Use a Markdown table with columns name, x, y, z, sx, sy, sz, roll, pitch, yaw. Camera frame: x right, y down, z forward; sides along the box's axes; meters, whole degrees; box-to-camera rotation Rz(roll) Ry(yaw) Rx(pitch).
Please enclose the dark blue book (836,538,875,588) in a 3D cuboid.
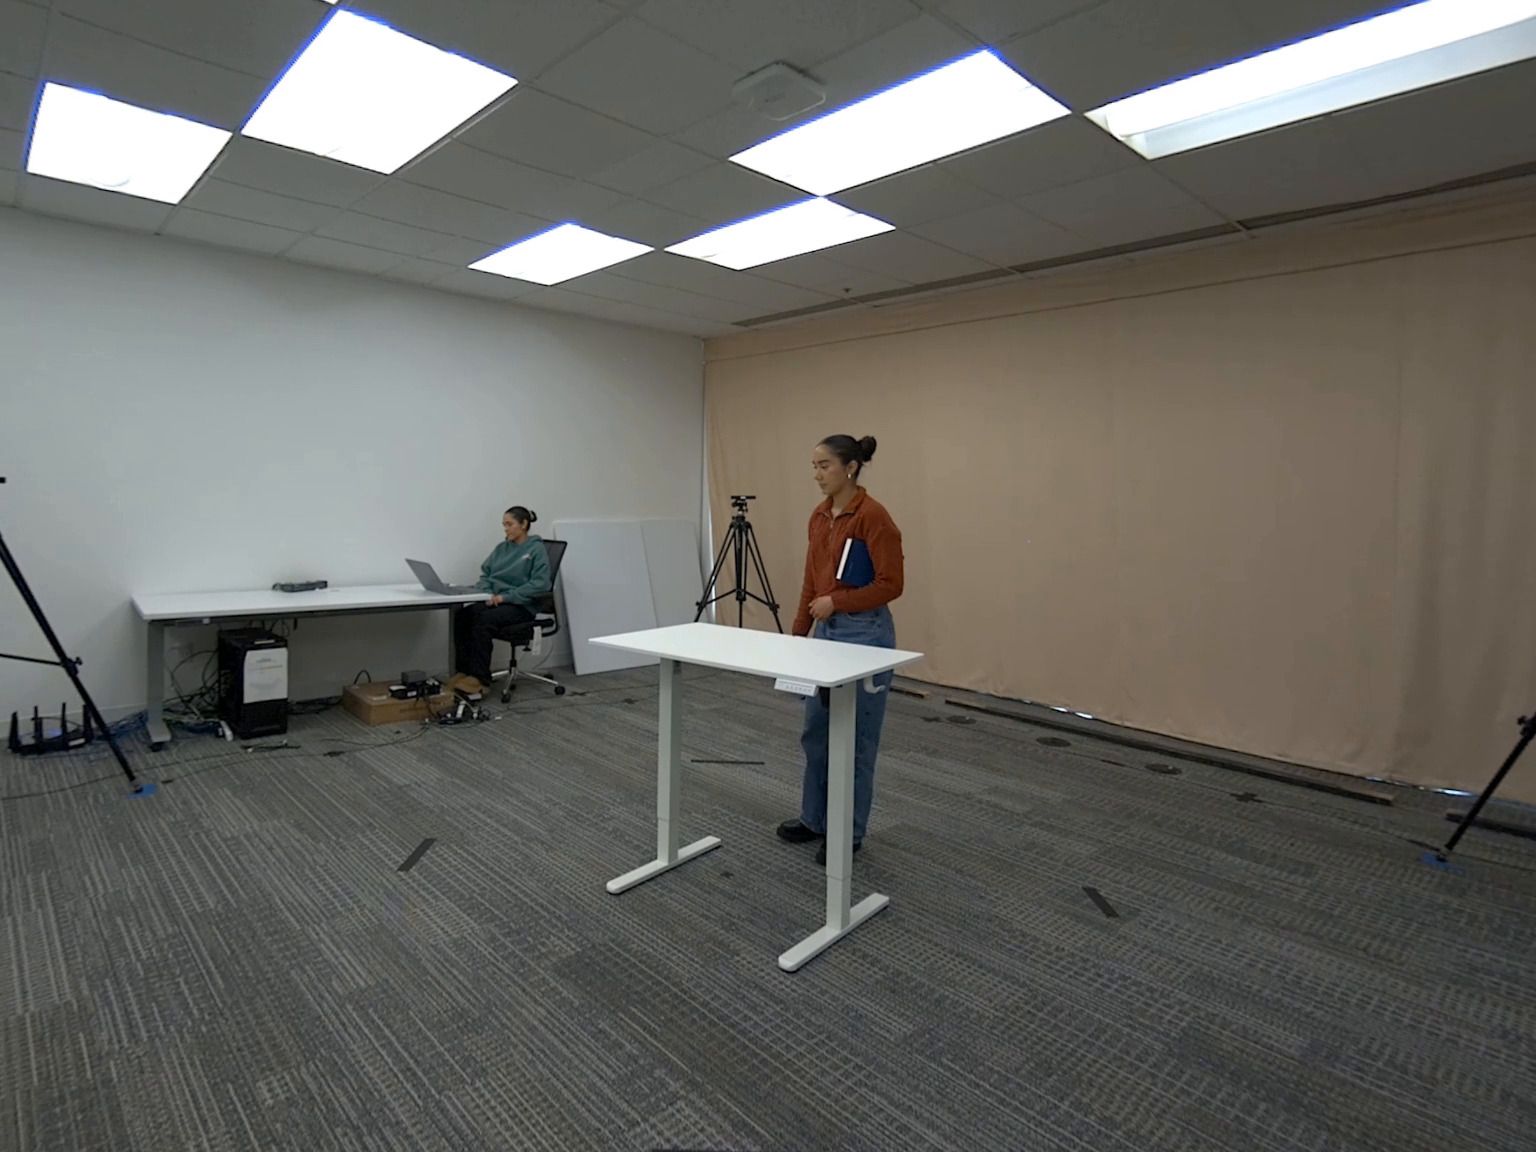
| name | x | y | z | sx | sy | sz | roll | pitch | yaw |
| --- | --- | --- | --- | --- | --- | --- | --- | --- | --- |
| dark blue book | 0.376 | -0.038 | 3.178 | 0.241 | 0.163 | 0.046 | 14 | -3 | -19 |
